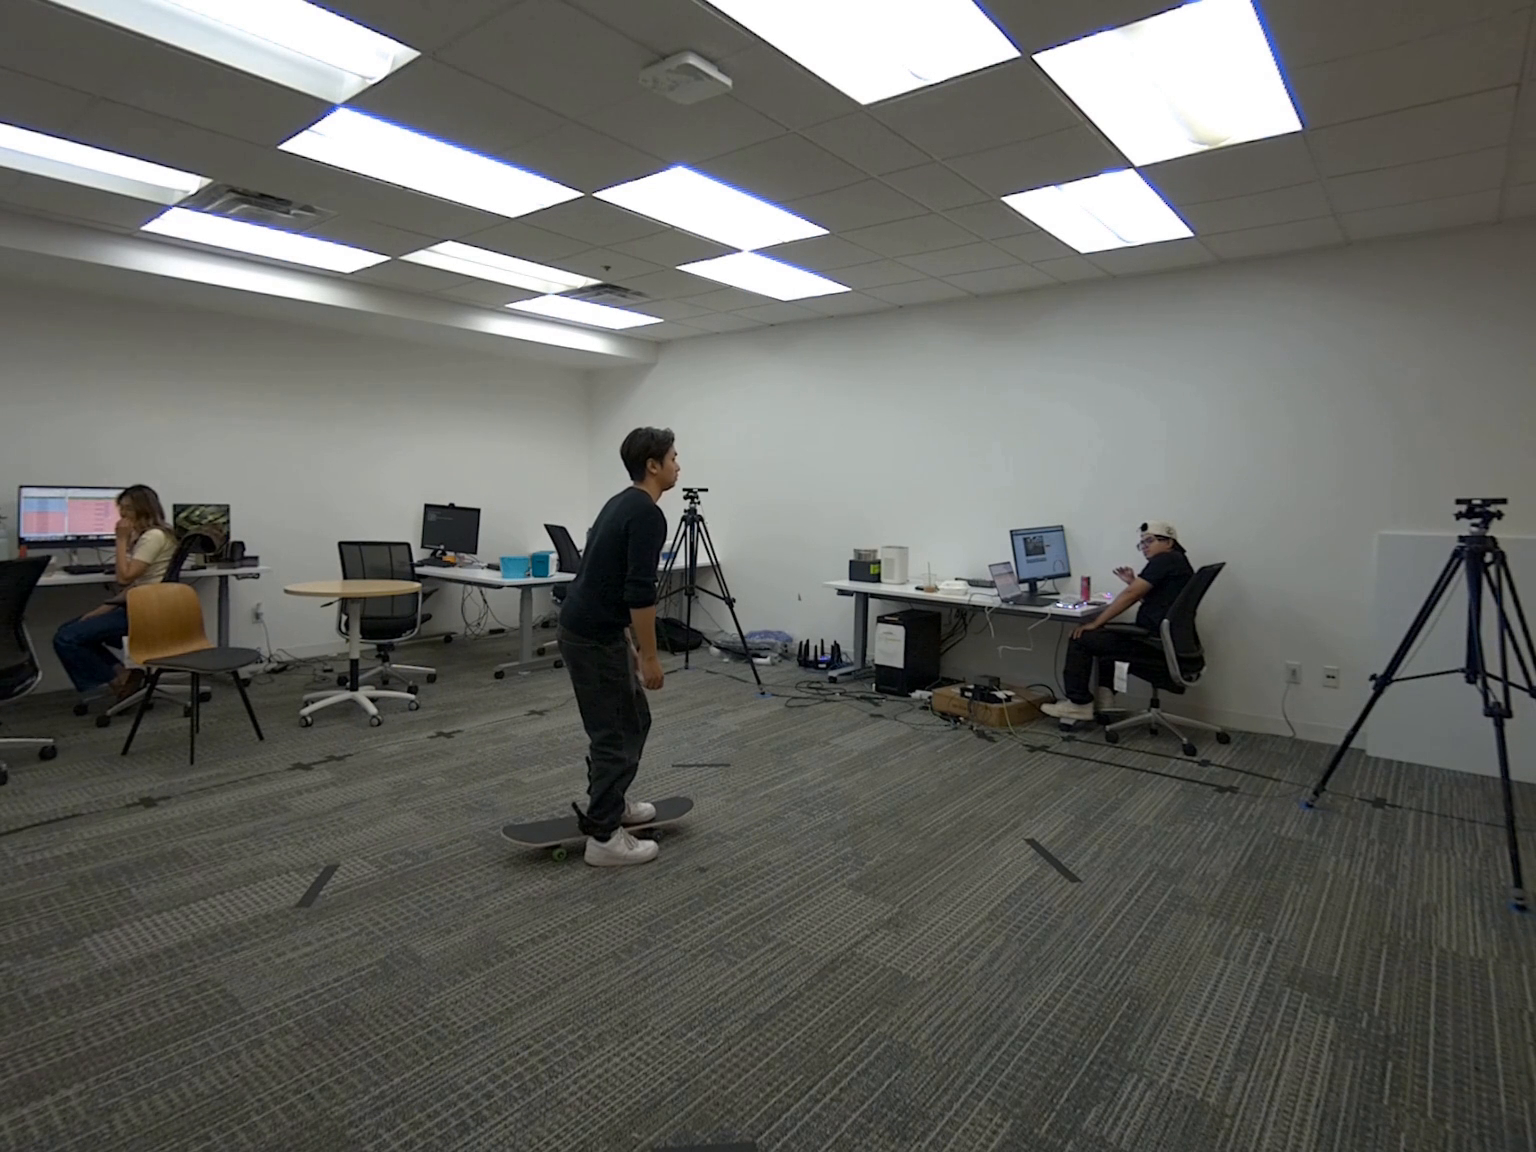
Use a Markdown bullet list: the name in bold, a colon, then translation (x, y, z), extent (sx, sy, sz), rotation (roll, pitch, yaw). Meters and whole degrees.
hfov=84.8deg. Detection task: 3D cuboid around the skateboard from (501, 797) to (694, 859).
- **skateboard**: translation (-0.660, 0.988, 3.330), extent (0.765, 0.110, 0.199), rotation (-3, 8, -28)
